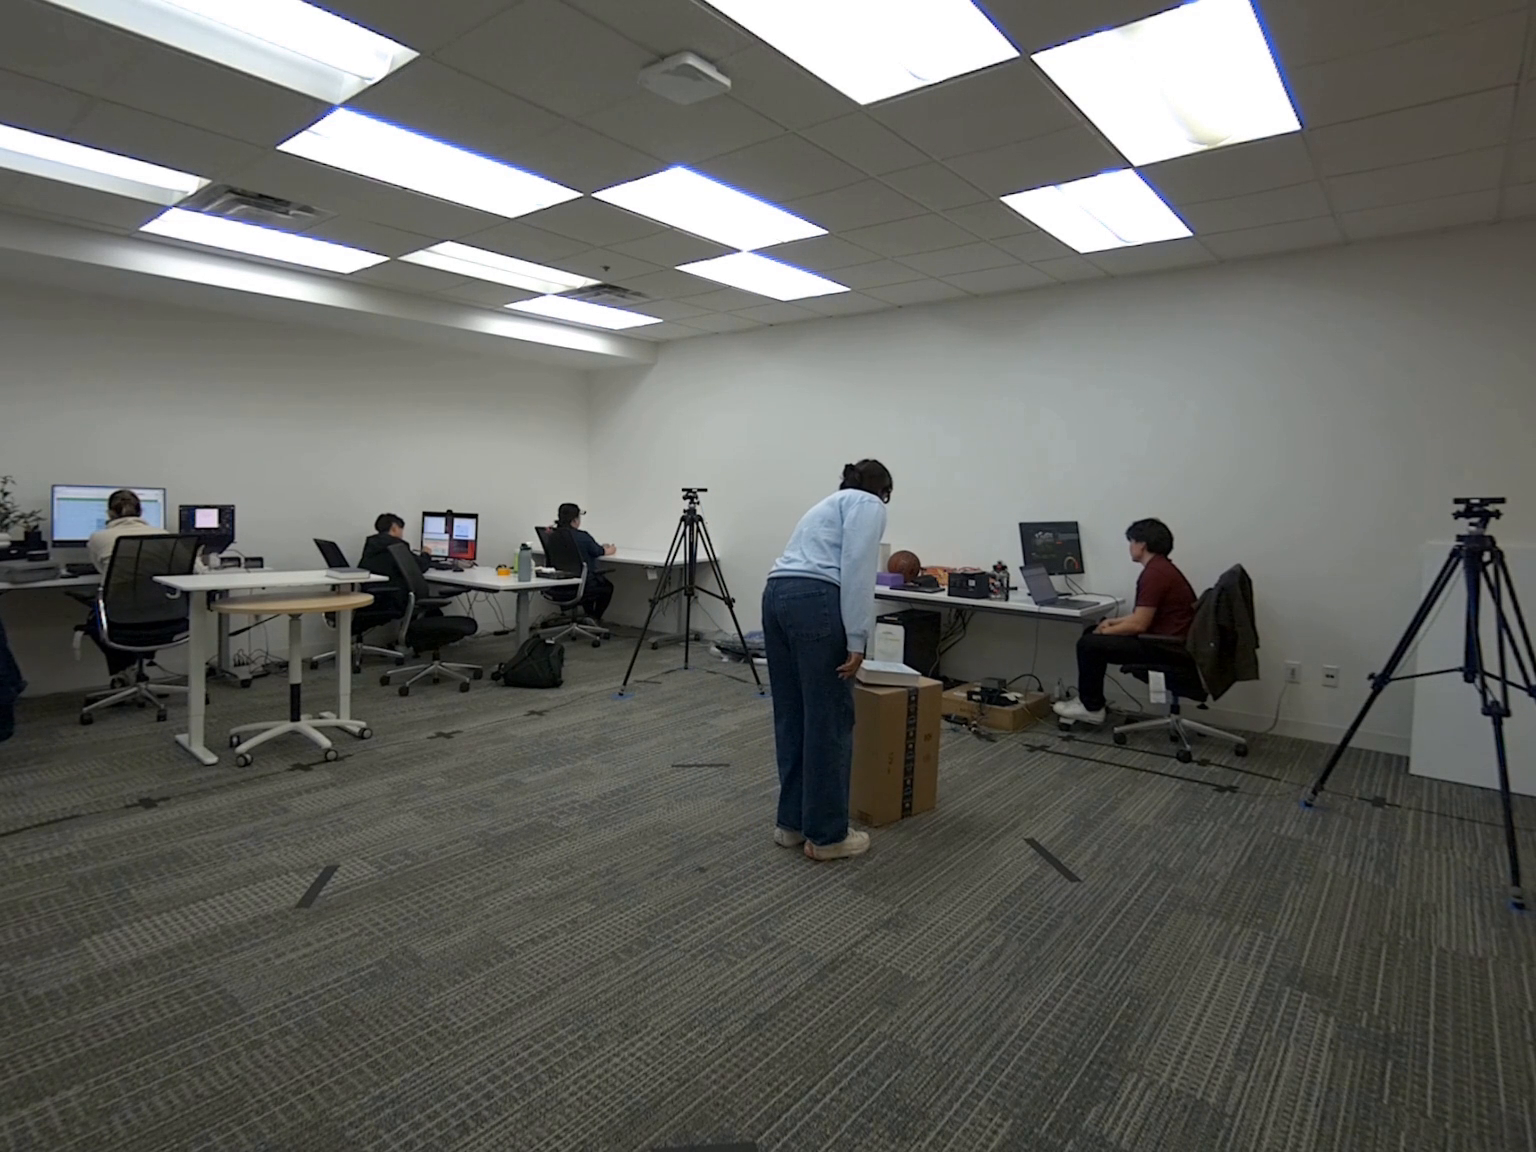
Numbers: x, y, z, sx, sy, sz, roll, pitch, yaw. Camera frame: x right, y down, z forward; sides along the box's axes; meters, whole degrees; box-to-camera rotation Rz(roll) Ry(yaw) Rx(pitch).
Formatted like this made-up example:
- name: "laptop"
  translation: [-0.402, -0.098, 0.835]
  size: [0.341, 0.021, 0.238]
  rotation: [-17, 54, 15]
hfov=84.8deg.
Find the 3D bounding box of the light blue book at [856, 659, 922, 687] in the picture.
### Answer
- name: "light blue book"
  translation: [0.499, 0.419, 3.719]
  size: [0.256, 0.059, 0.195]
  rotation: [6, 7, -16]
